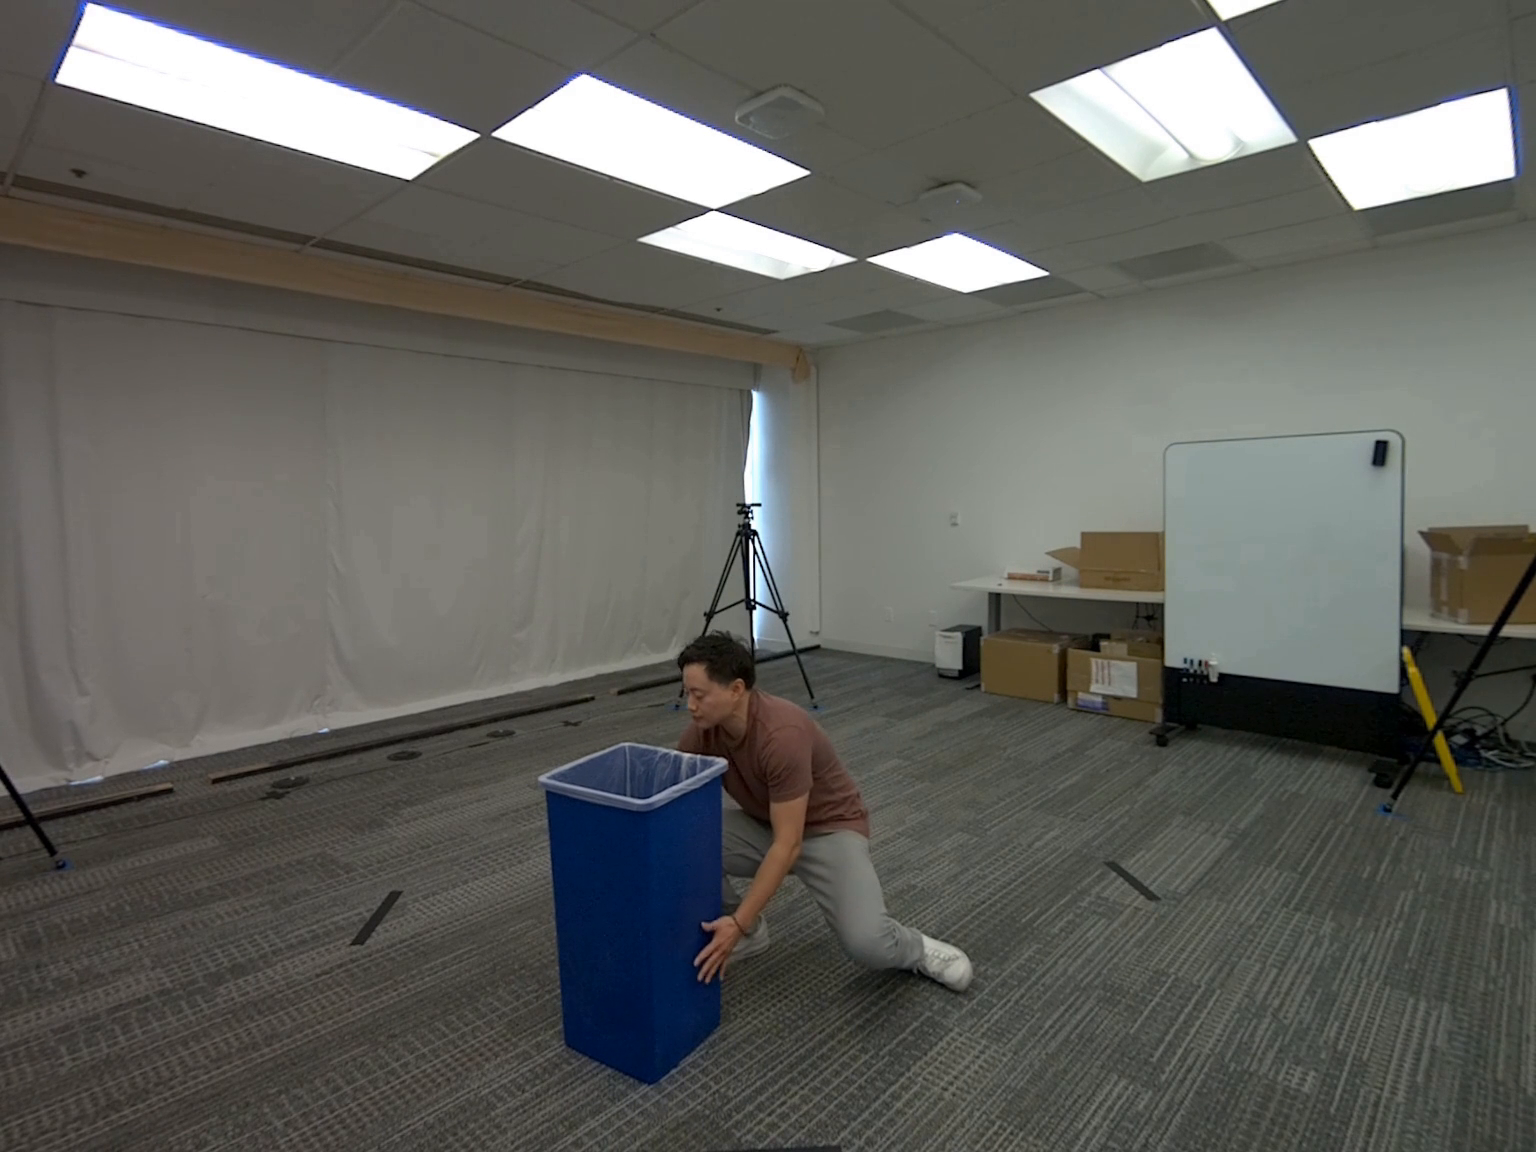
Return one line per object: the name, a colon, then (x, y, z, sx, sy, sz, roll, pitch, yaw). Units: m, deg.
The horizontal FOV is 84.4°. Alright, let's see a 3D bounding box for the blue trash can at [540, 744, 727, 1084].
blue trash can: (-0.339, 0.856, 2.193, 0.389, 0.712, 0.364, 0, 4, 31)
